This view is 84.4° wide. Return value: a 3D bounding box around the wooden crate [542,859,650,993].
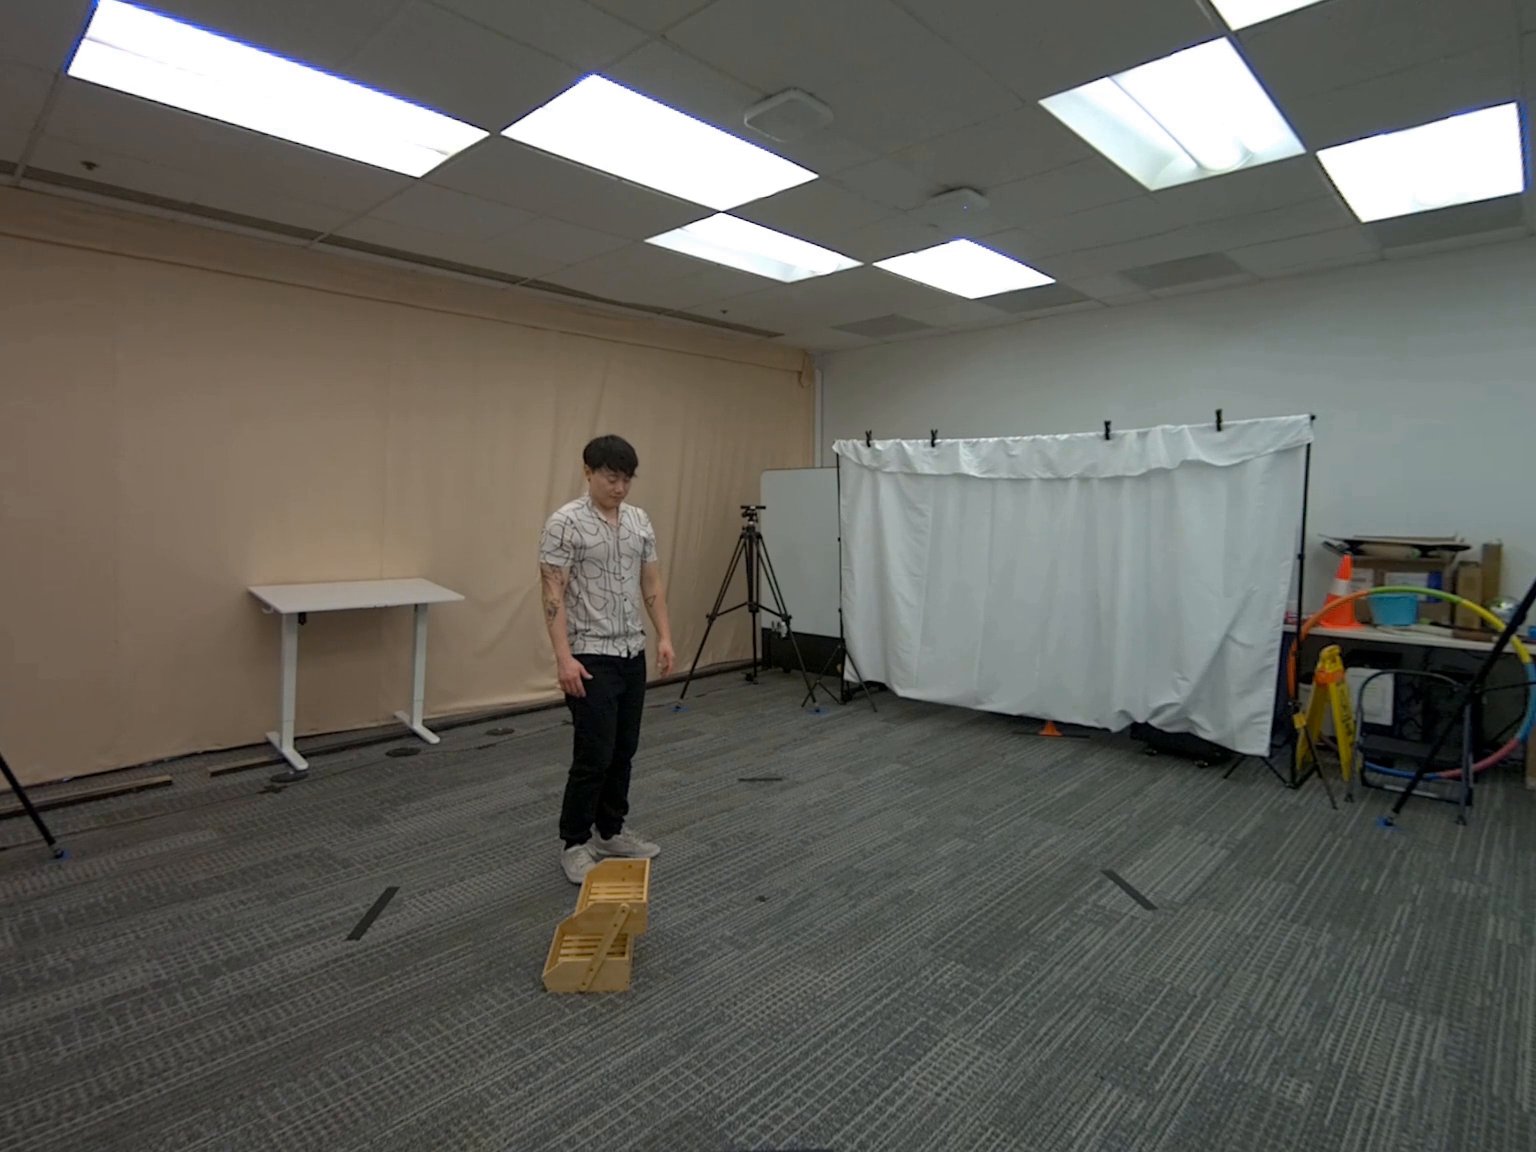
[{"bbox_3d":[-0.521,1.052,2.556,0.301,0.273,0.327,-2,4,-5],"label":"wooden crate"}]
